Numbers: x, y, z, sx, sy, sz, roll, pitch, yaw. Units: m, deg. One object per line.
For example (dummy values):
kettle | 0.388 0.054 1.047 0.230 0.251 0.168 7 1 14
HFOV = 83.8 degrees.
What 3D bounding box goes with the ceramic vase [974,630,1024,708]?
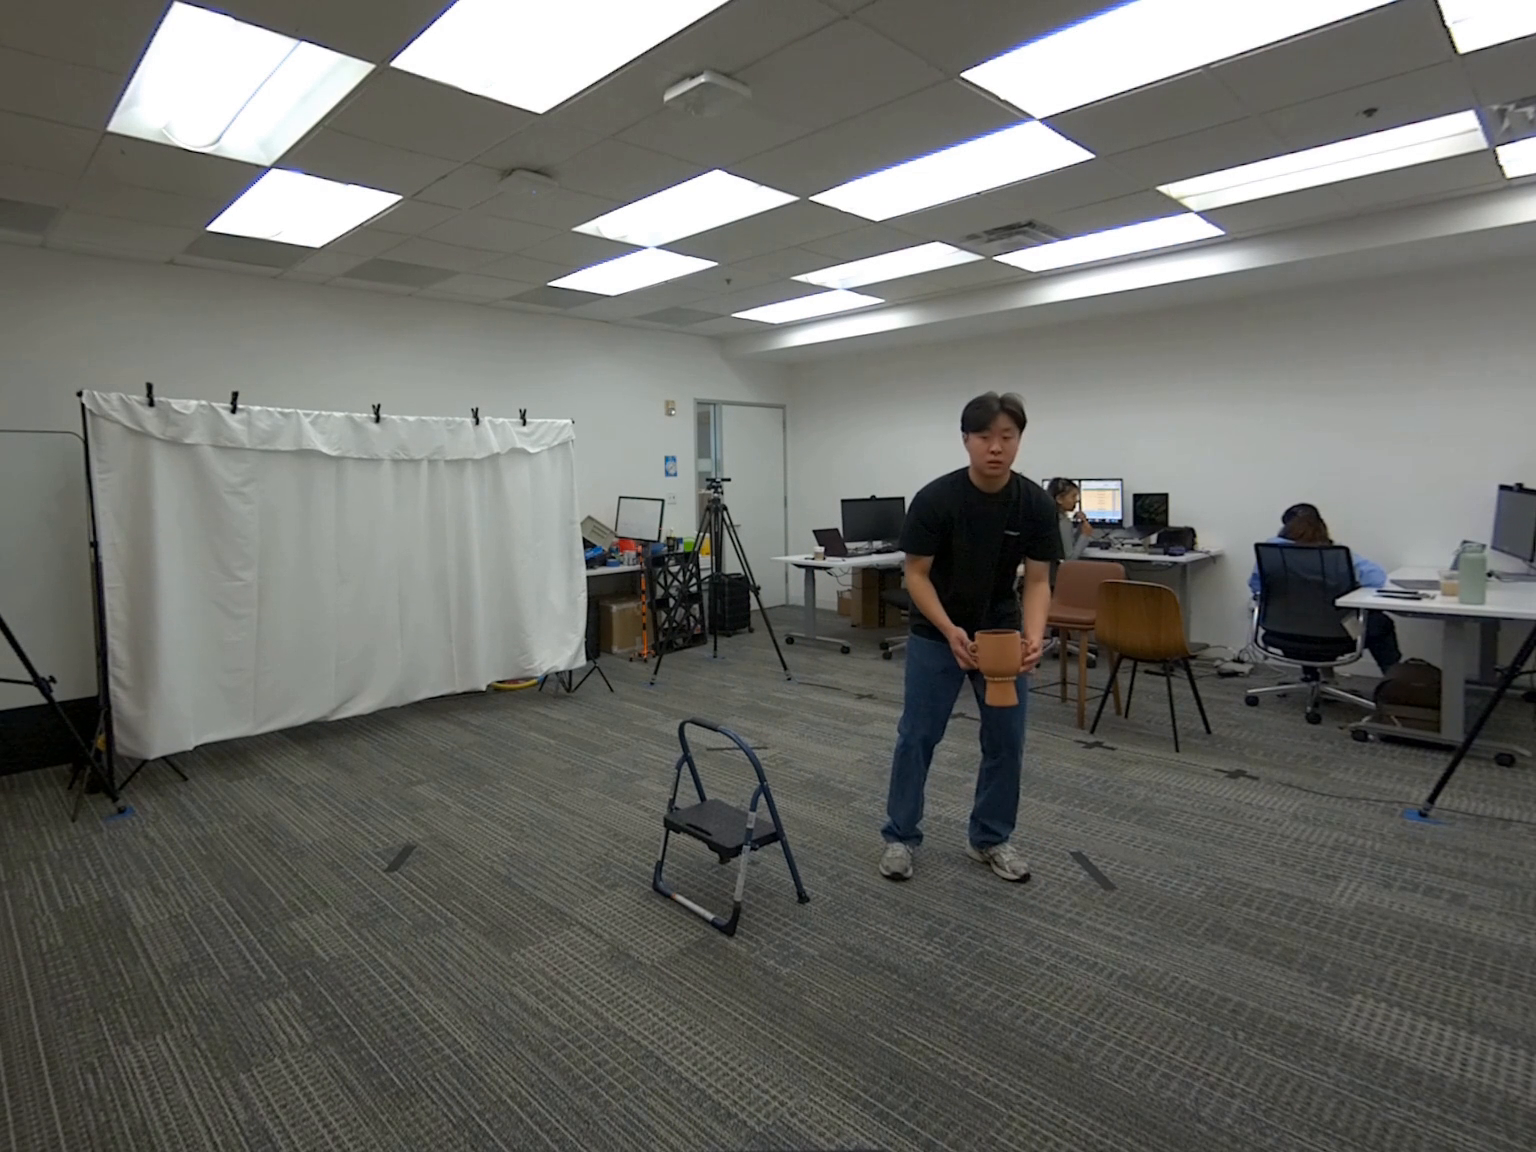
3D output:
ceramic vase | 0.726 0.292 2.660 0.163 0.220 0.131 -3 0 35
